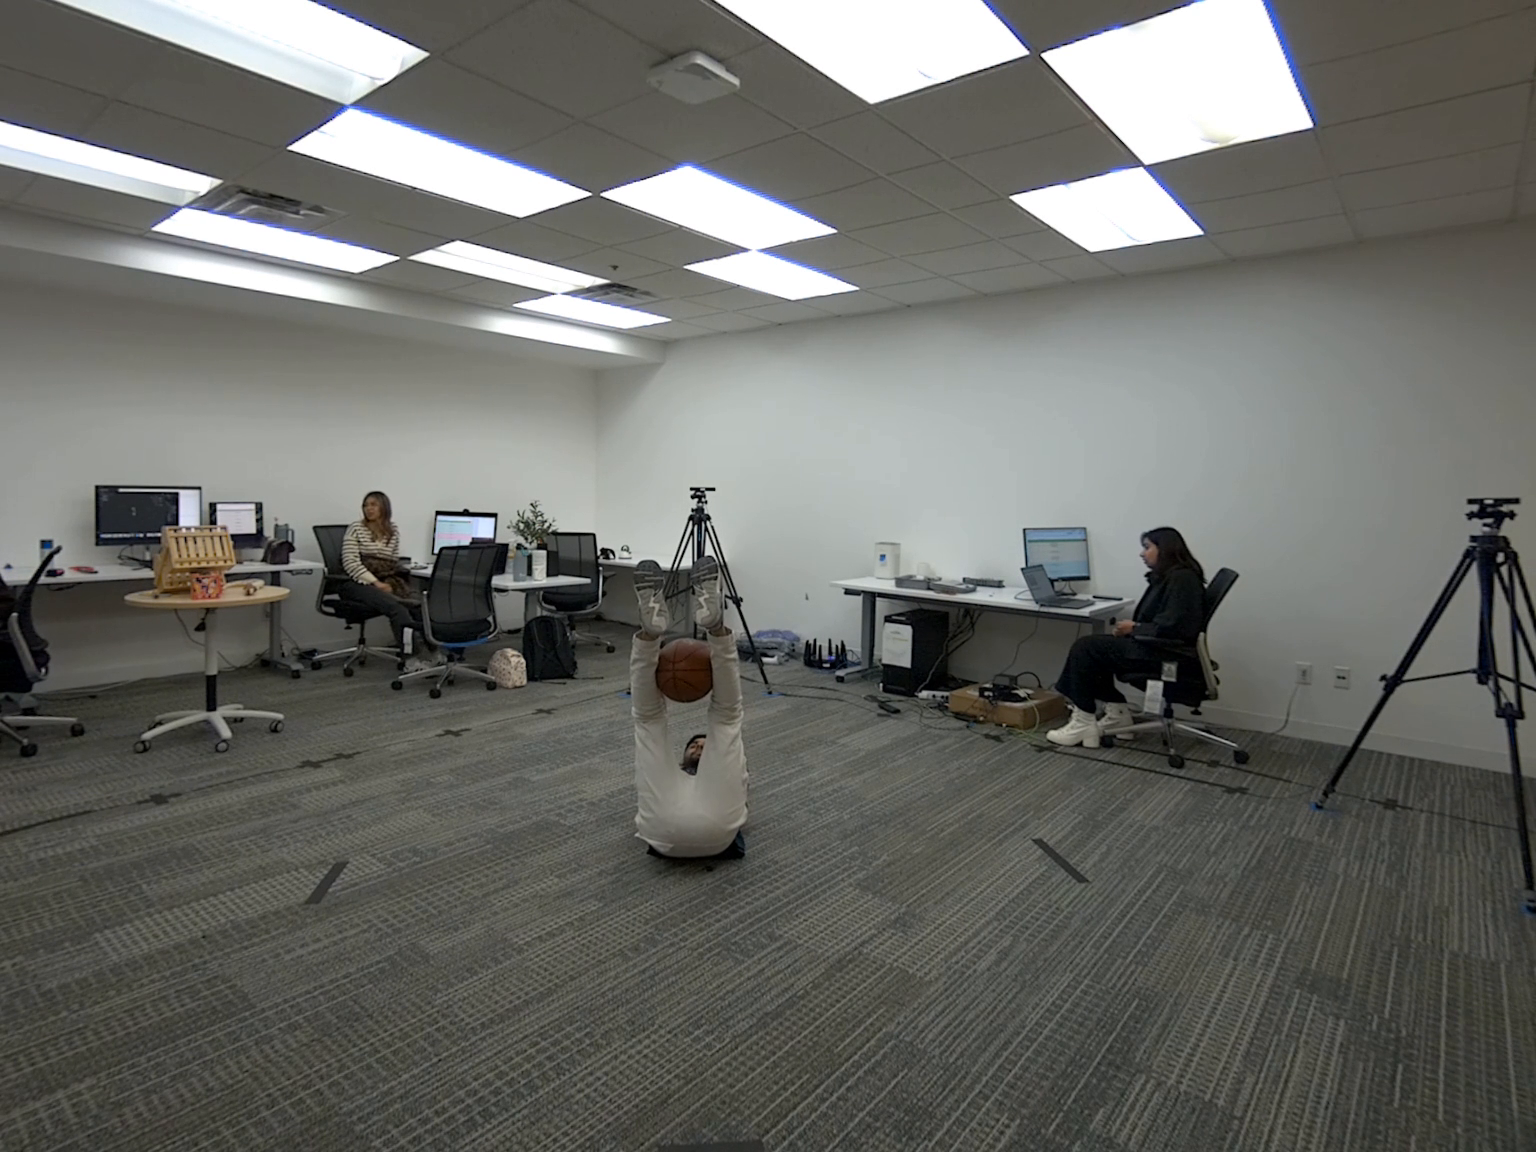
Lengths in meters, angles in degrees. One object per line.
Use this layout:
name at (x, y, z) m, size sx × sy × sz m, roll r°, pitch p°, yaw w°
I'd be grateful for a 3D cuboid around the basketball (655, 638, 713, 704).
basketball at (-0.319, 0.354, 3.193) m, size 0.235 × 0.235 × 0.237 m, roll 1°, pitch 4°, yaw -2°
